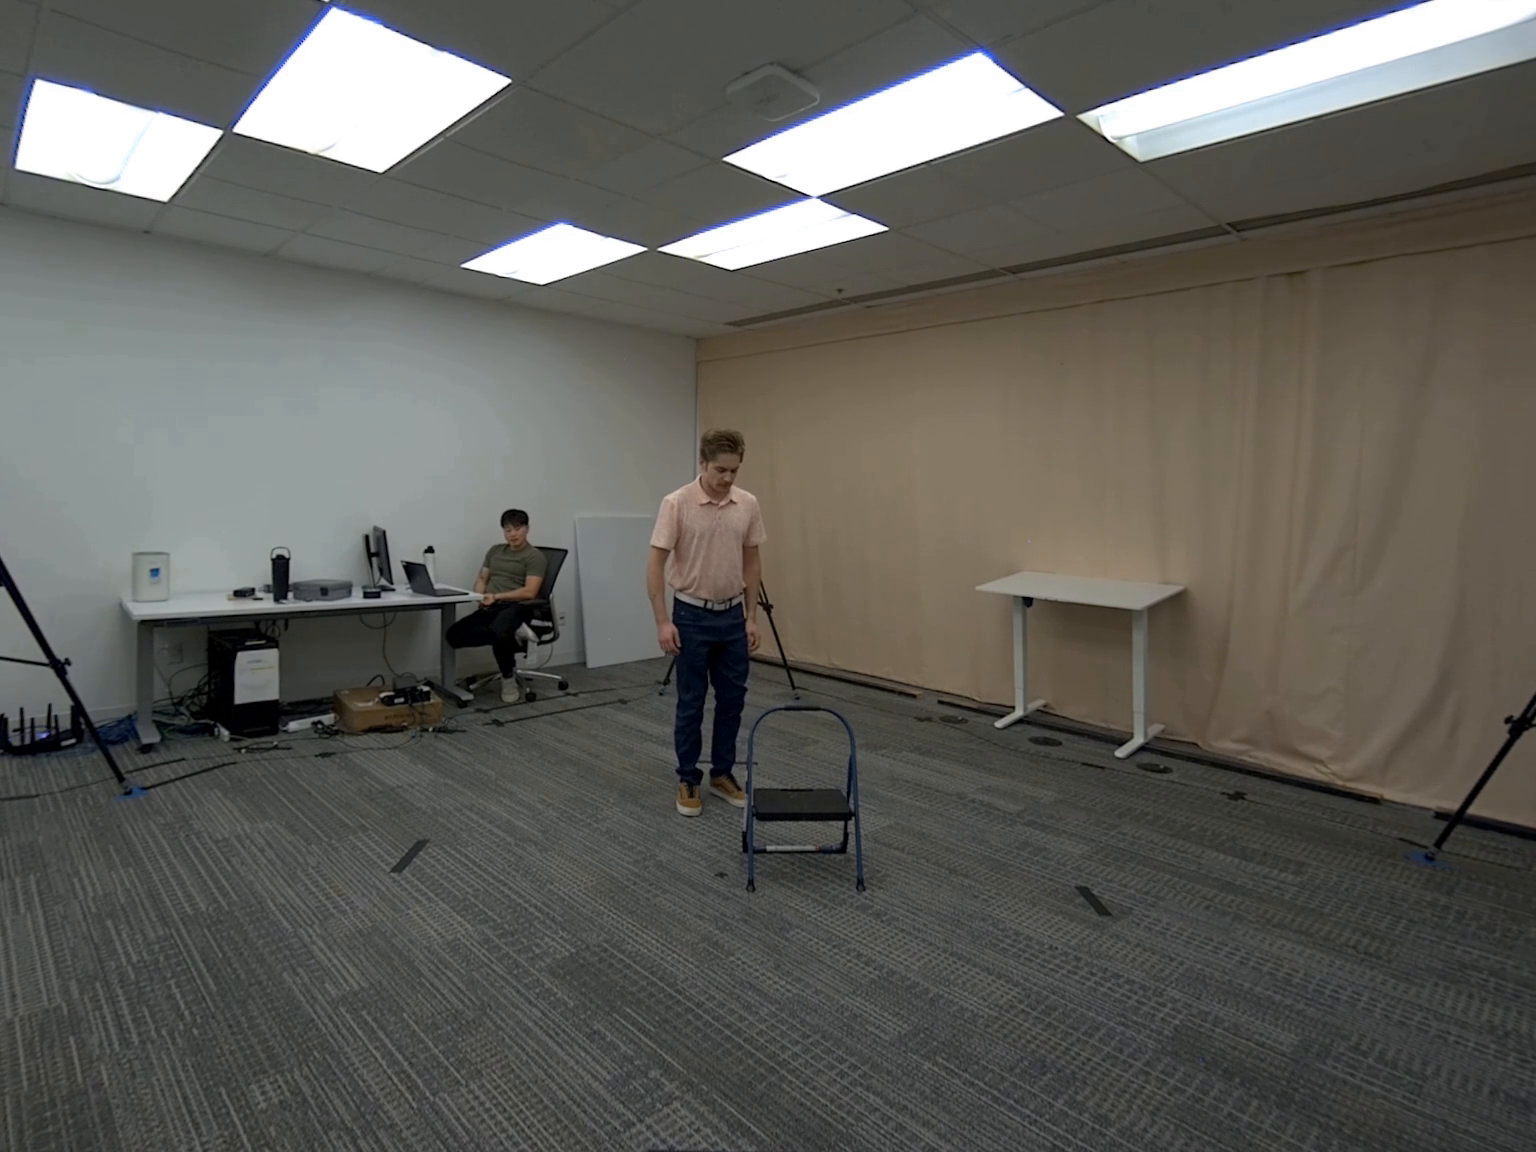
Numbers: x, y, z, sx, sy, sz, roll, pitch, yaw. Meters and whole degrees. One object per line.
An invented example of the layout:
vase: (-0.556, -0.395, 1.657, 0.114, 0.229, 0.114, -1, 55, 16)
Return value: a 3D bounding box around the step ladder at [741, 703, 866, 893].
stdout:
step ladder: (0.123, 0.803, 3.151, 0.429, 0.605, 0.351, 2, 3, -5)
